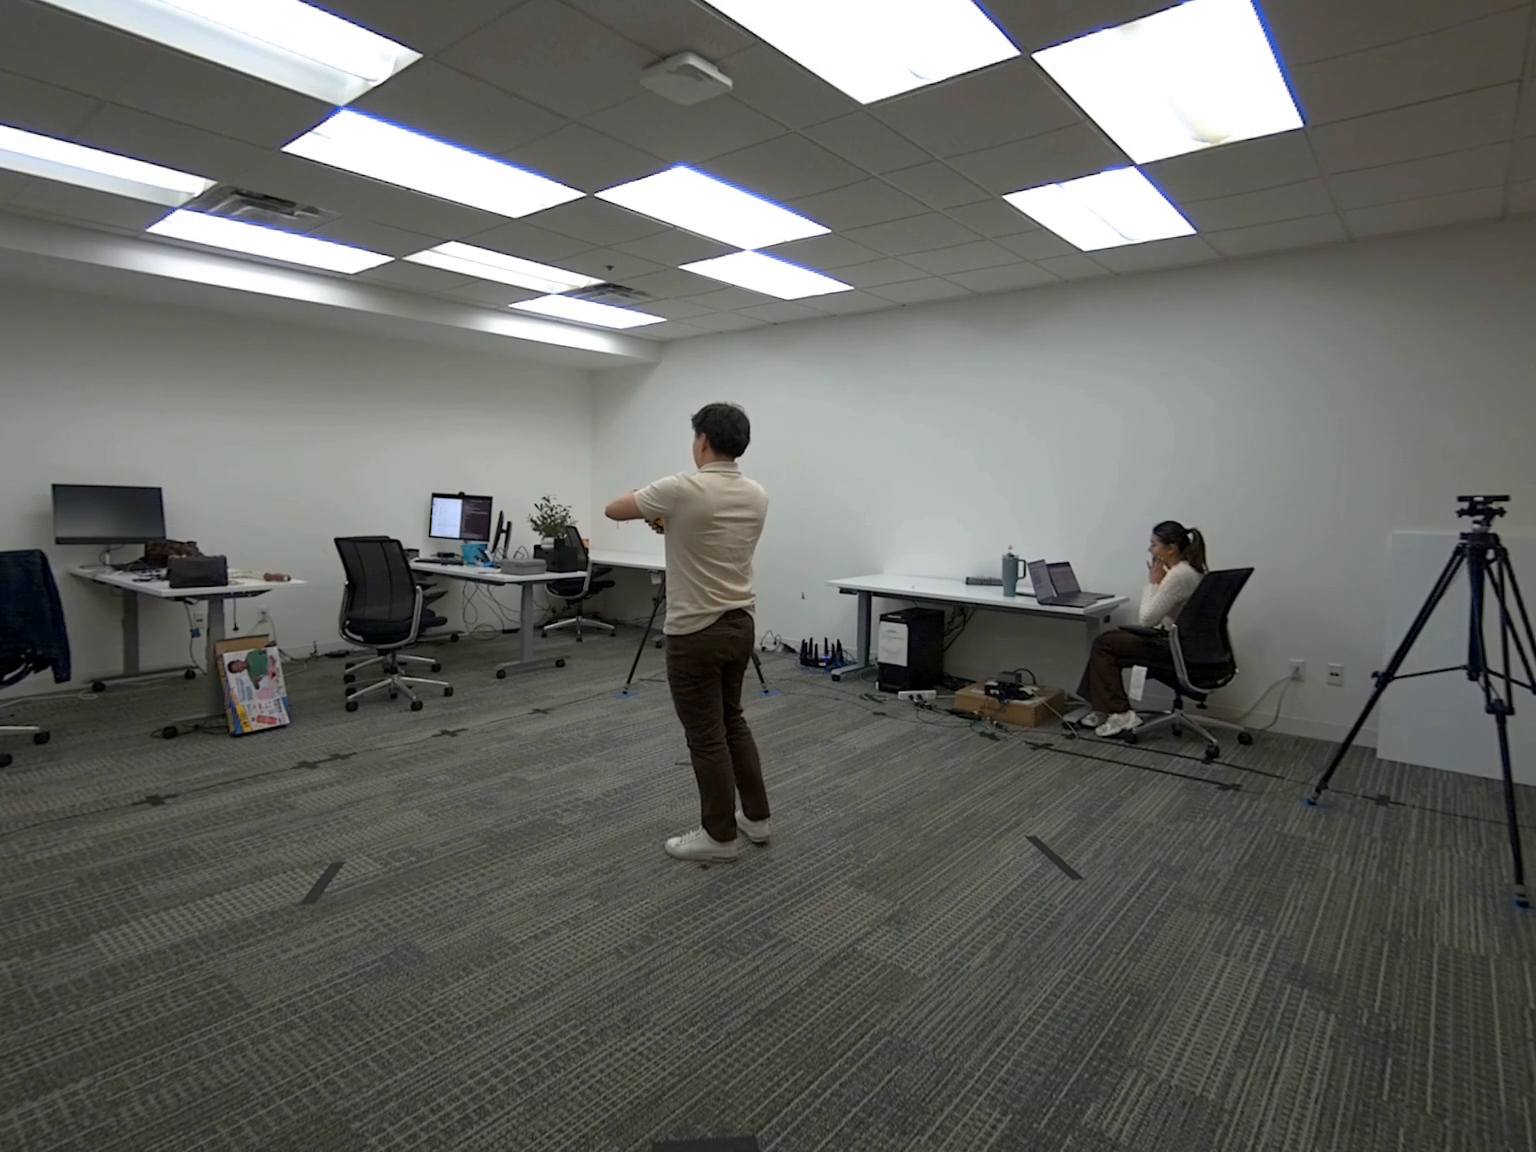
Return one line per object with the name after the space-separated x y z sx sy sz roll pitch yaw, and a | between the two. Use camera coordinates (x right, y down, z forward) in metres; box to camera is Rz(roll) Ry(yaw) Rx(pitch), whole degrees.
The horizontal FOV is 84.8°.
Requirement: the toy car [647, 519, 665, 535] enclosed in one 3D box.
-0.480 -0.259 3.428 0.262 0.083 0.126 24 -13 22 | toy car
